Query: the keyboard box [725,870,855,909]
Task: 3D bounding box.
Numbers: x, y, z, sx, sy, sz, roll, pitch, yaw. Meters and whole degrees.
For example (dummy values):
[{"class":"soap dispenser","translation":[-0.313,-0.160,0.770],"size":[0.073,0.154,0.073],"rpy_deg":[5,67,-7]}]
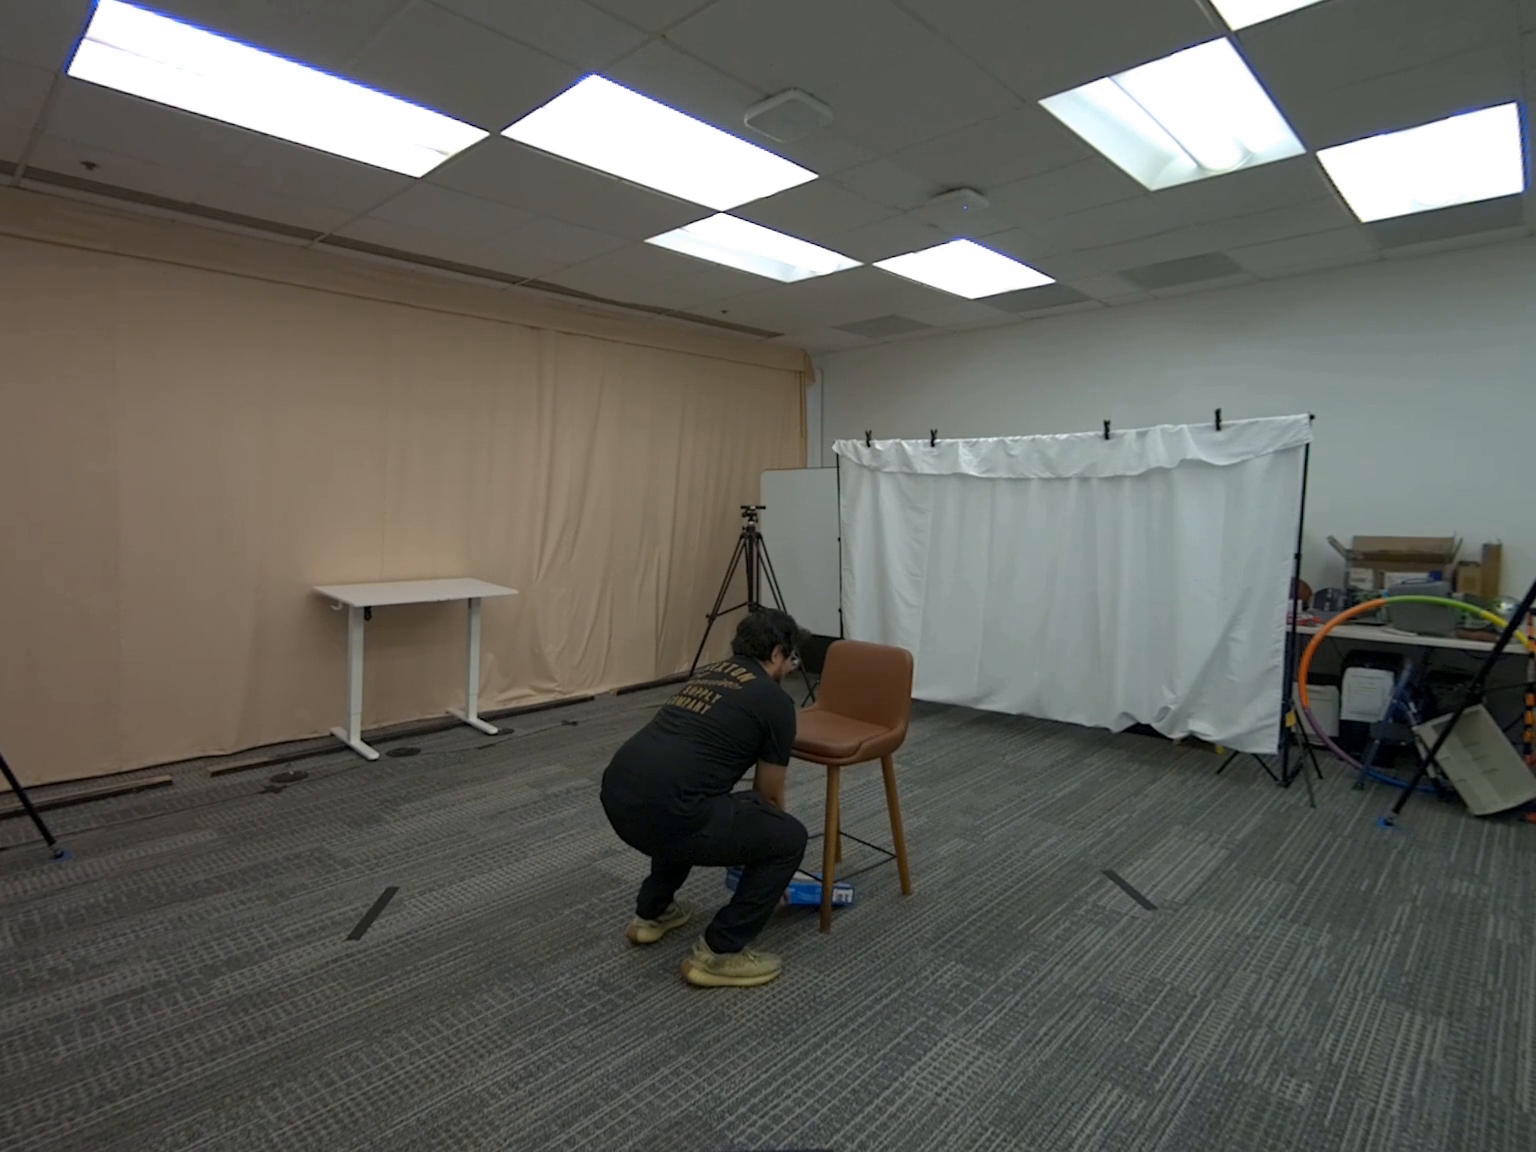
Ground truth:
[{"class":"keyboard box","translation":[0.088,1.071,2.864],"size":[0.422,0.059,0.181],"rpy_deg":[14,-8,-37]}]
